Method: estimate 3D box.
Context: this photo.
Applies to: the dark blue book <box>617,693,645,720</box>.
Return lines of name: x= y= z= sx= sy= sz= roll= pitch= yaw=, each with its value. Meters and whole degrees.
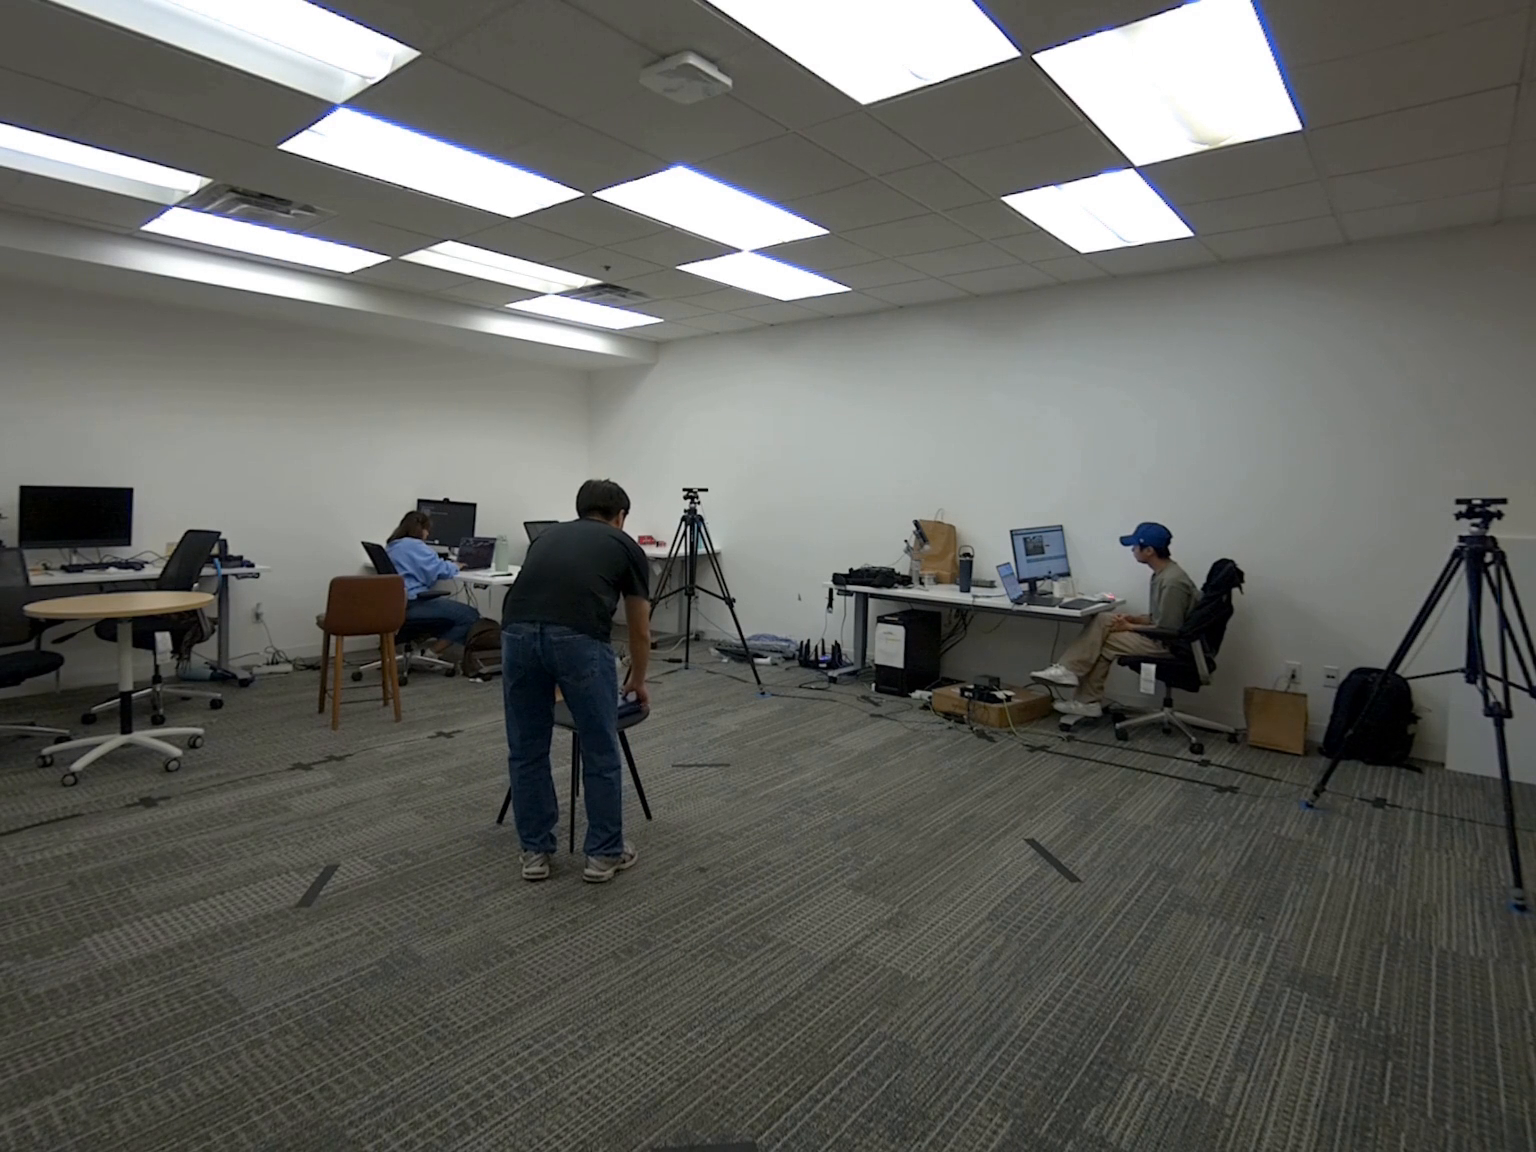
dark blue book: x=-0.661 y=0.529 z=3.417 sx=0.168 sy=0.045 sz=0.238 roll=4 pitch=7 yaw=34
